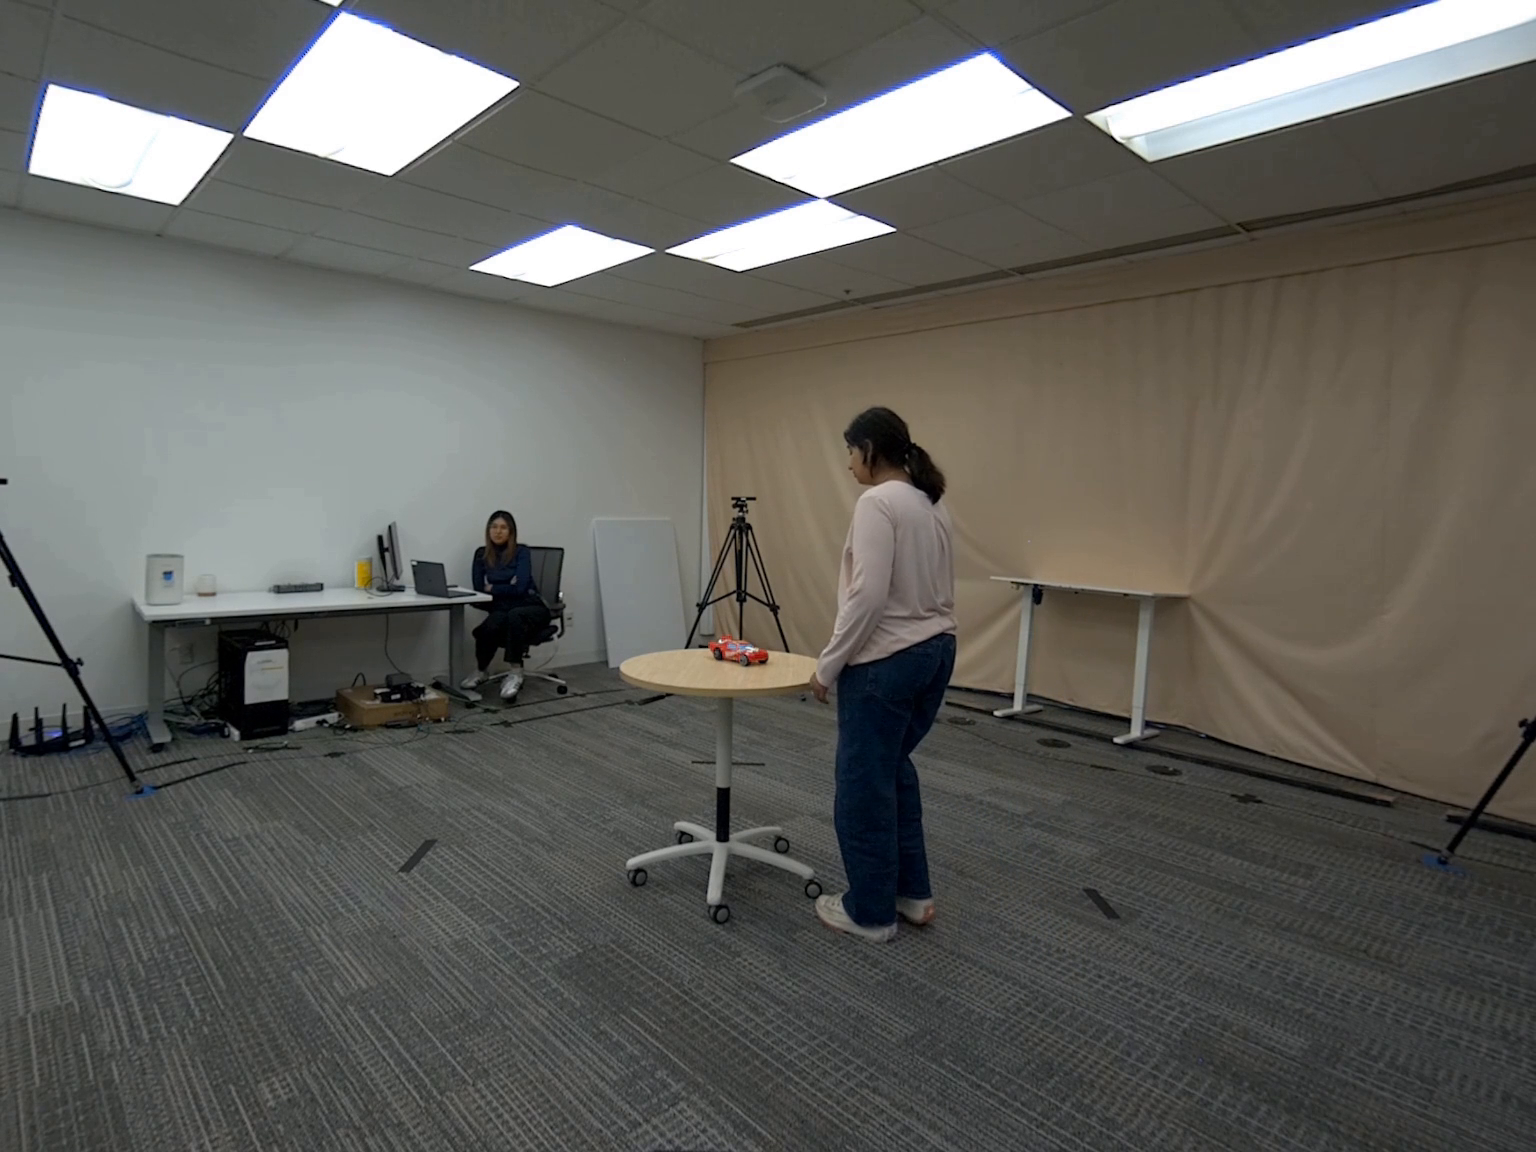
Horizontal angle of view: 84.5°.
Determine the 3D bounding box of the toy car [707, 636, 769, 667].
[{"bbox_3d":[-0.121,0.287,3.162,0.127,0.082,0.262,-3,17,-42],"label":"toy car"}]
